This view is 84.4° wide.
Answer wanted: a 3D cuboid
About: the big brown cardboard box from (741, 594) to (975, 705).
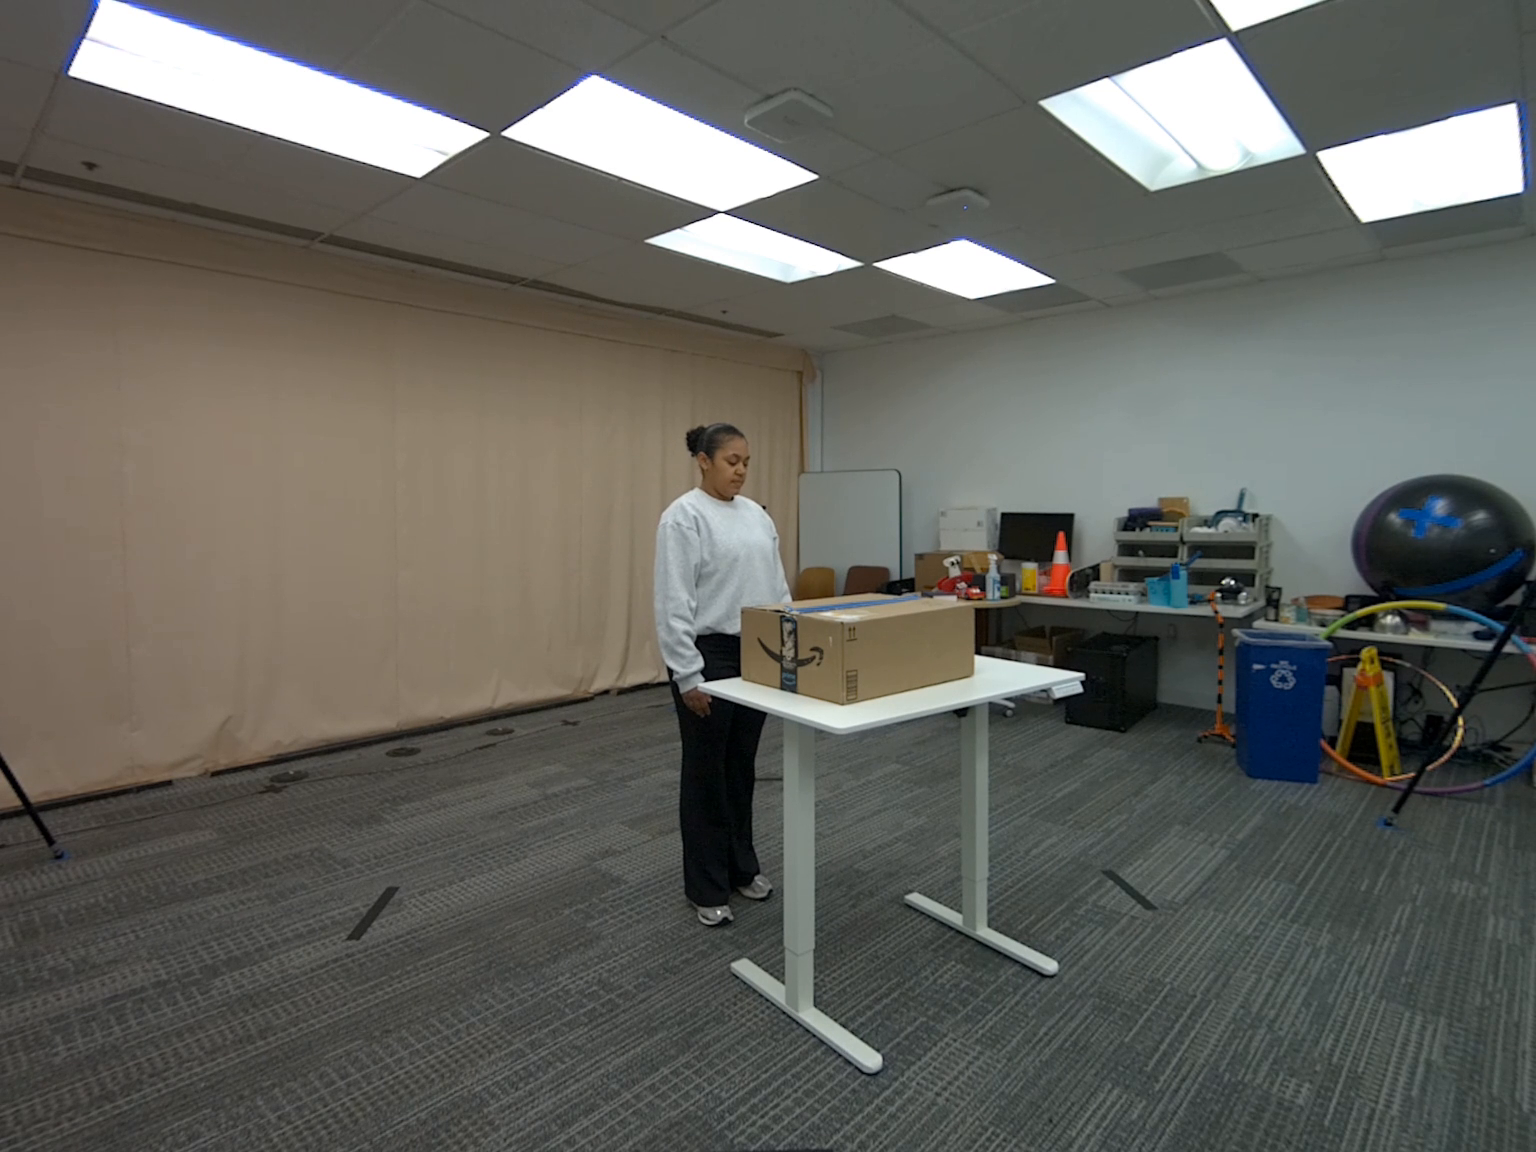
[{"bbox_3d":[0.263,0.194,2.480,0.571,0.233,0.431,-3,5,-39],"label":"big brown cardboard box"}]
